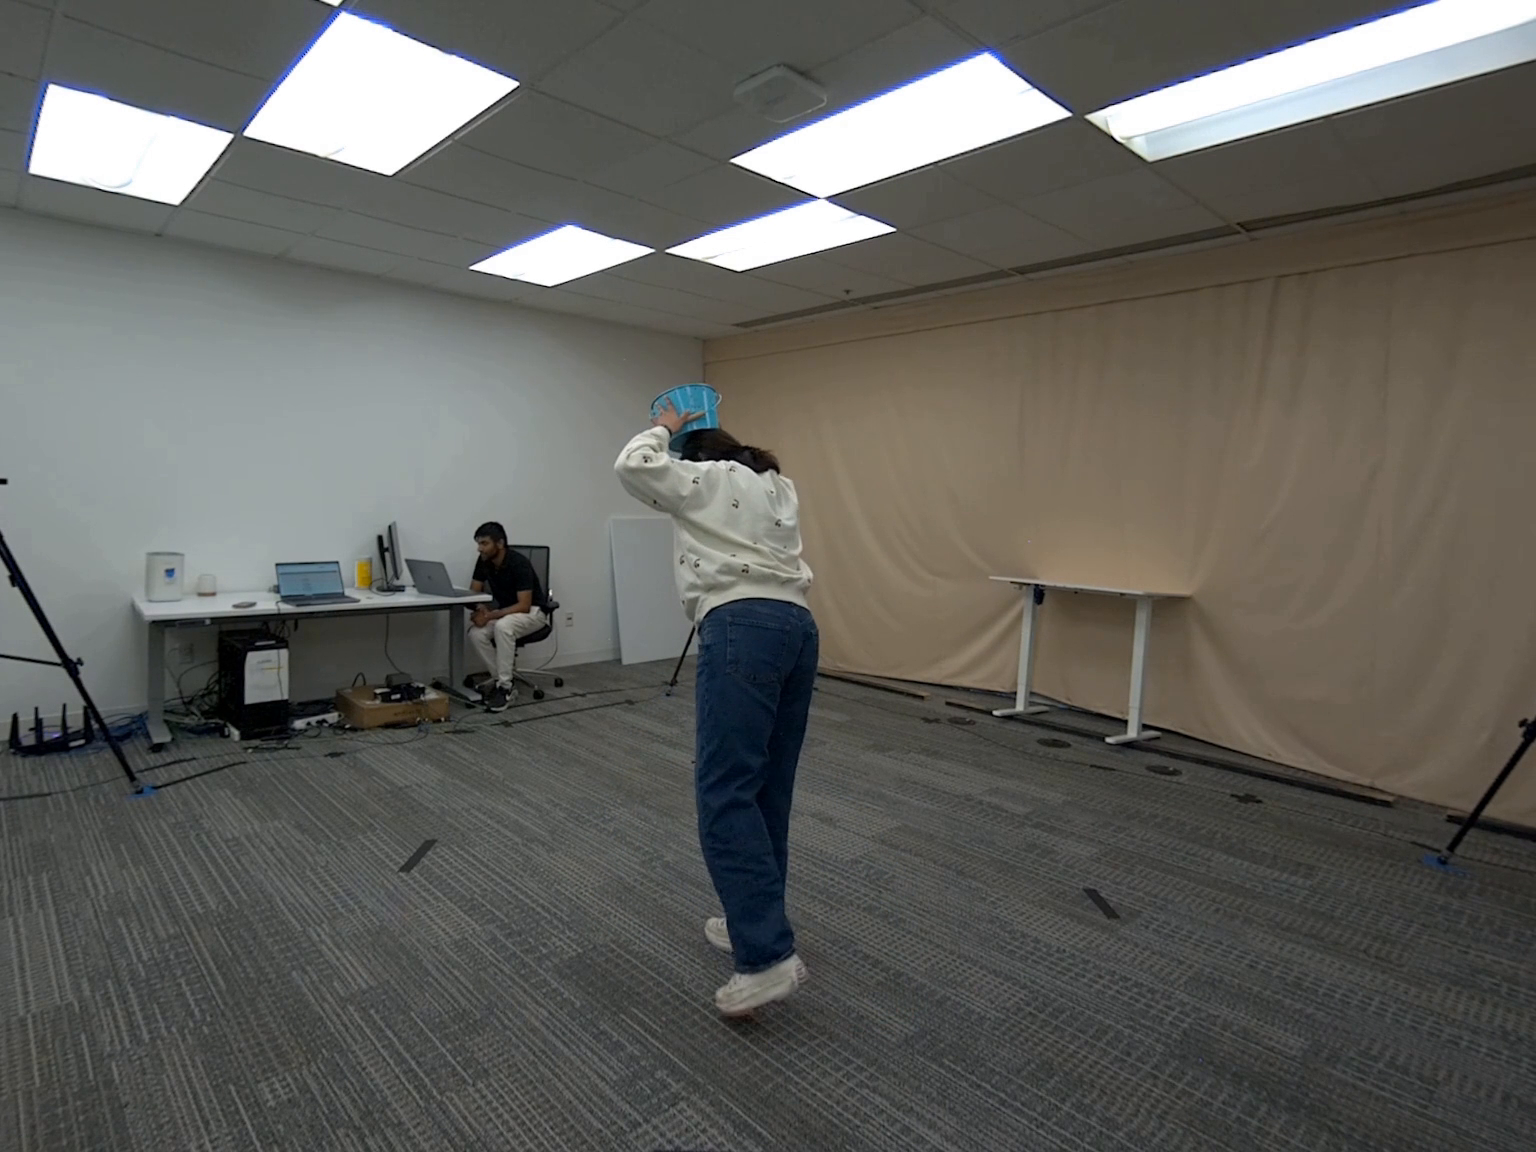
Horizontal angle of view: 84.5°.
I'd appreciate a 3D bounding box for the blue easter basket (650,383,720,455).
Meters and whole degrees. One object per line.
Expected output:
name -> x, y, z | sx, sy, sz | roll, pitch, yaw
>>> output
blue easter basket -> -0.284, -0.525, 2.842 | 0.243, 0.158, 0.241 | -13, -15, -5
